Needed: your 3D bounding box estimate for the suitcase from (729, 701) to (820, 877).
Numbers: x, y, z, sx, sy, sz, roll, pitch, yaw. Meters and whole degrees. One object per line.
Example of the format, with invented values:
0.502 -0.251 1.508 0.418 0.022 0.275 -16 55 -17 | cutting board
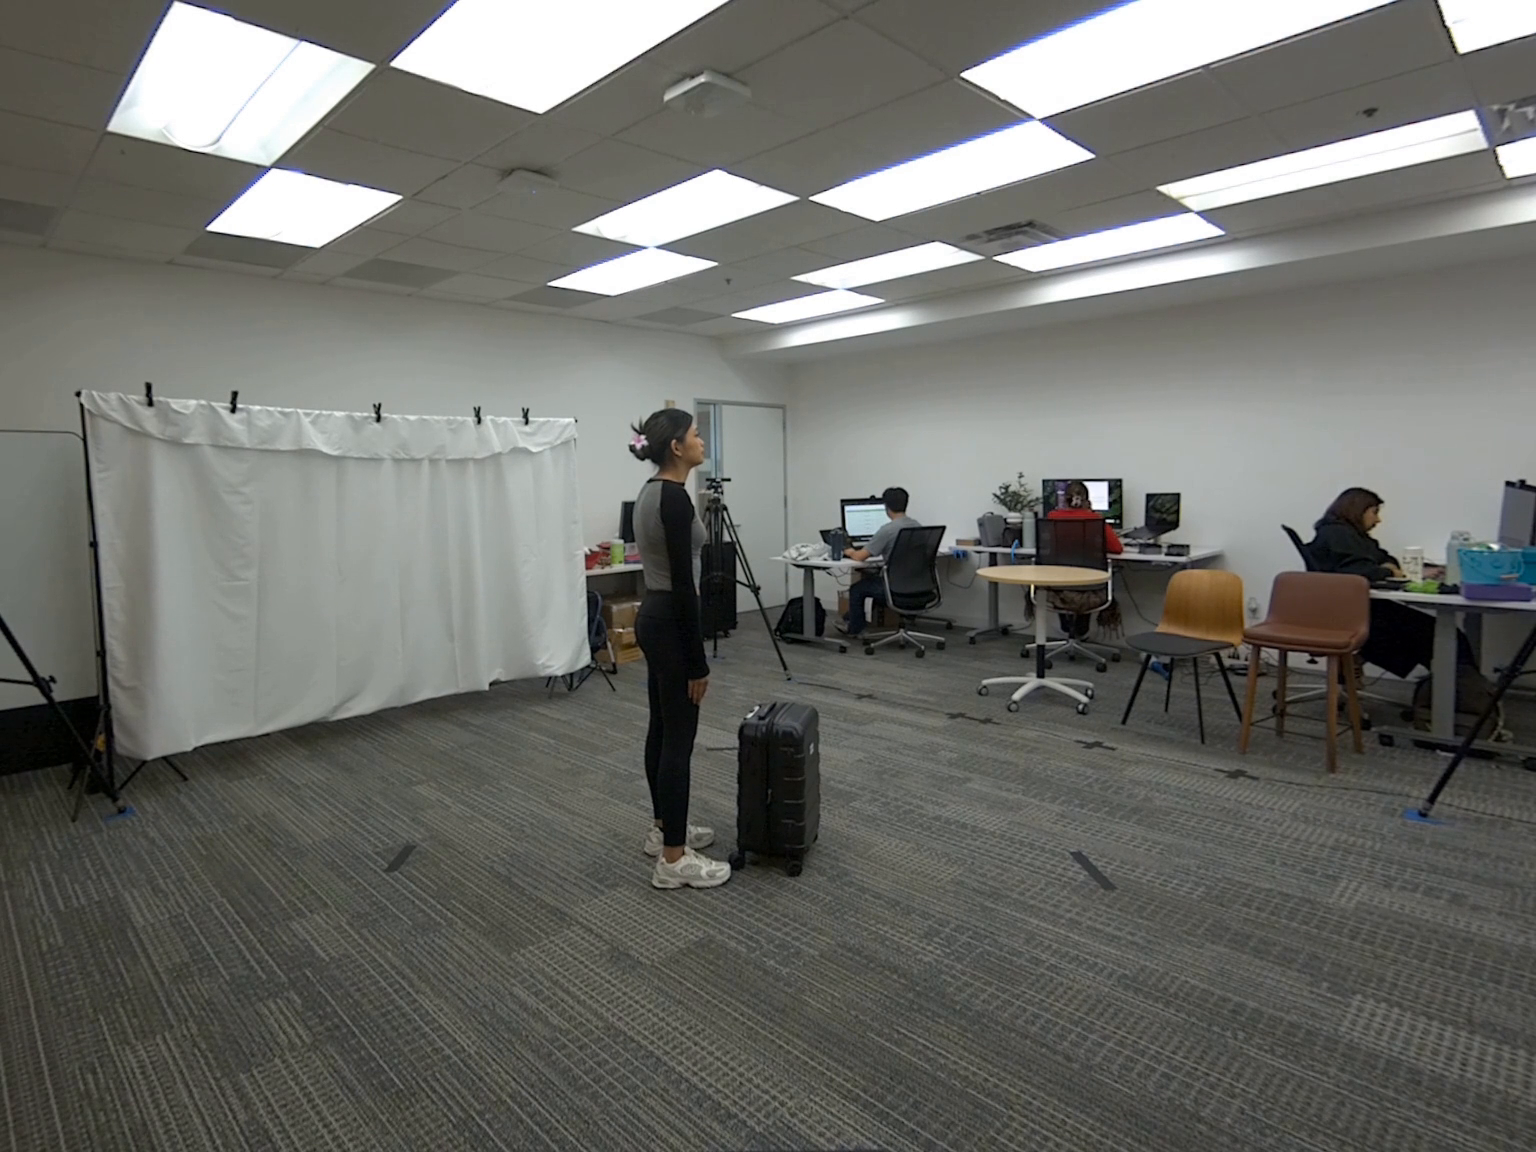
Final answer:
0.045 0.757 3.171 0.252 0.547 0.370 2 4 16 | suitcase
